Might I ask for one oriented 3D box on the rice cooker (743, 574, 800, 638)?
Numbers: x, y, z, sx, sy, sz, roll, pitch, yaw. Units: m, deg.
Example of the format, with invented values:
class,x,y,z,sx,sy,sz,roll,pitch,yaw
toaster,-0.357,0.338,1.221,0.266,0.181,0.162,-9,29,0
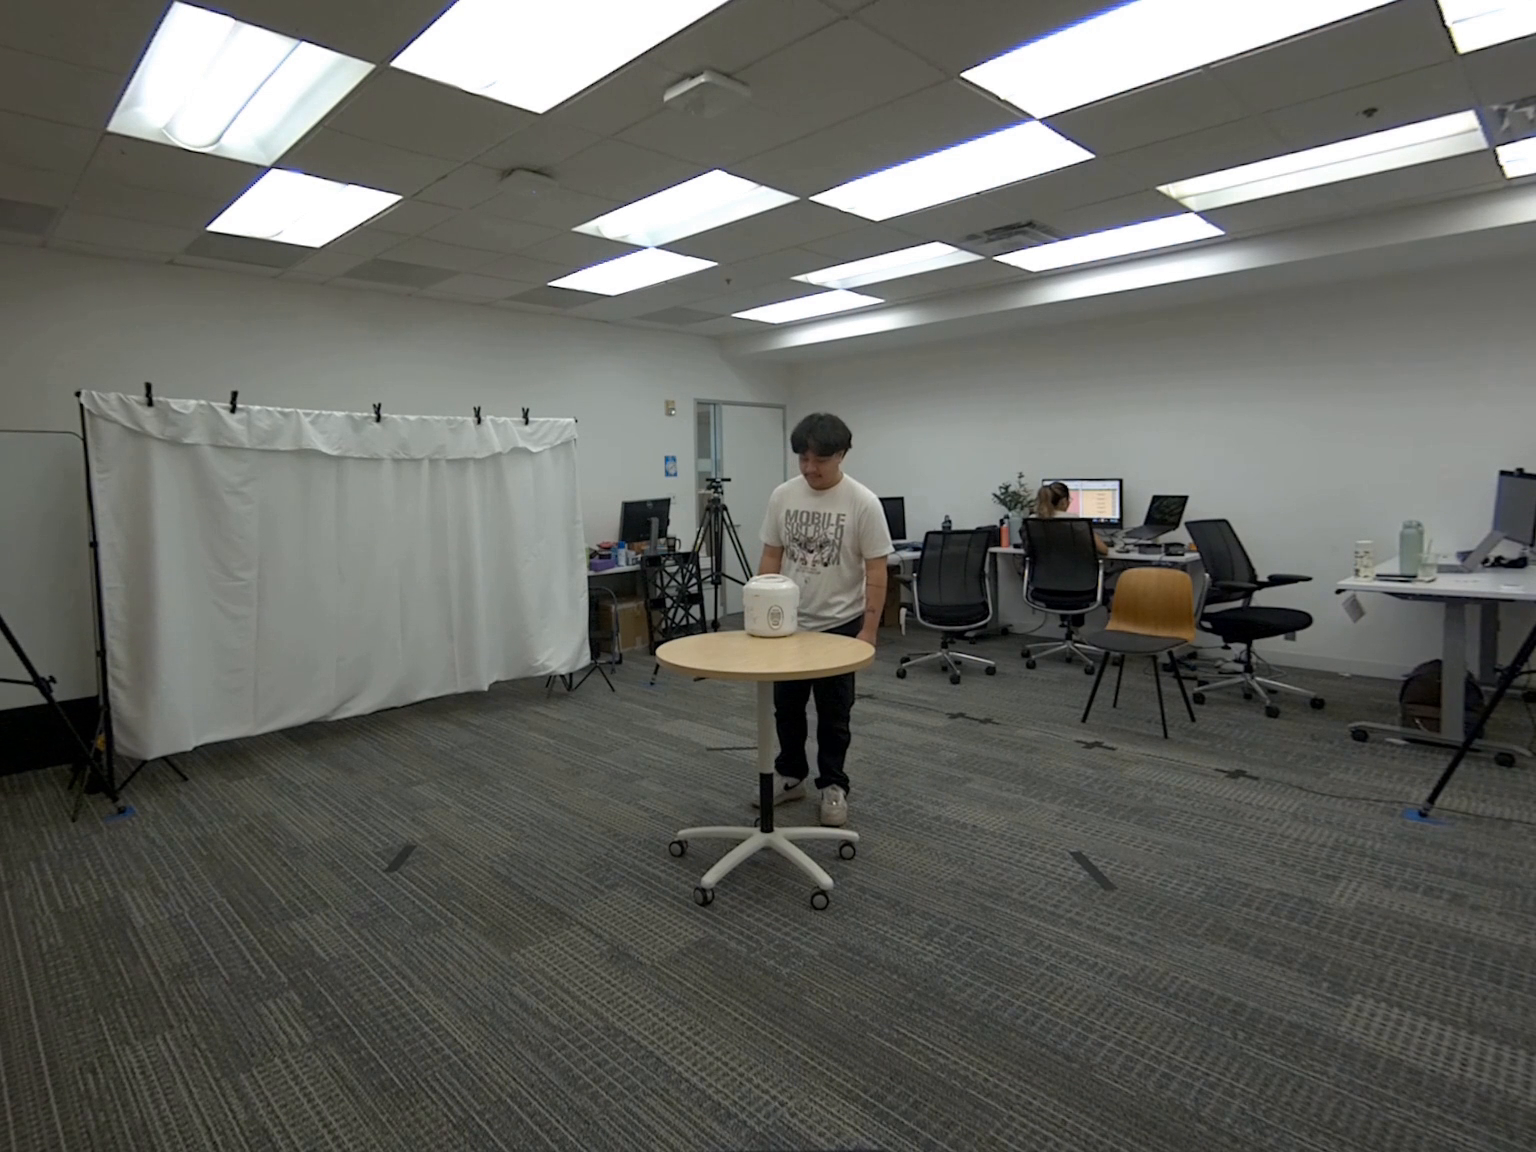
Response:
class,x,y,z,sx,sy,sz,roll,pitch,yaw
rice cooker,0.007,0.112,3.289,0.219,0.232,0.219,-2,4,-7
